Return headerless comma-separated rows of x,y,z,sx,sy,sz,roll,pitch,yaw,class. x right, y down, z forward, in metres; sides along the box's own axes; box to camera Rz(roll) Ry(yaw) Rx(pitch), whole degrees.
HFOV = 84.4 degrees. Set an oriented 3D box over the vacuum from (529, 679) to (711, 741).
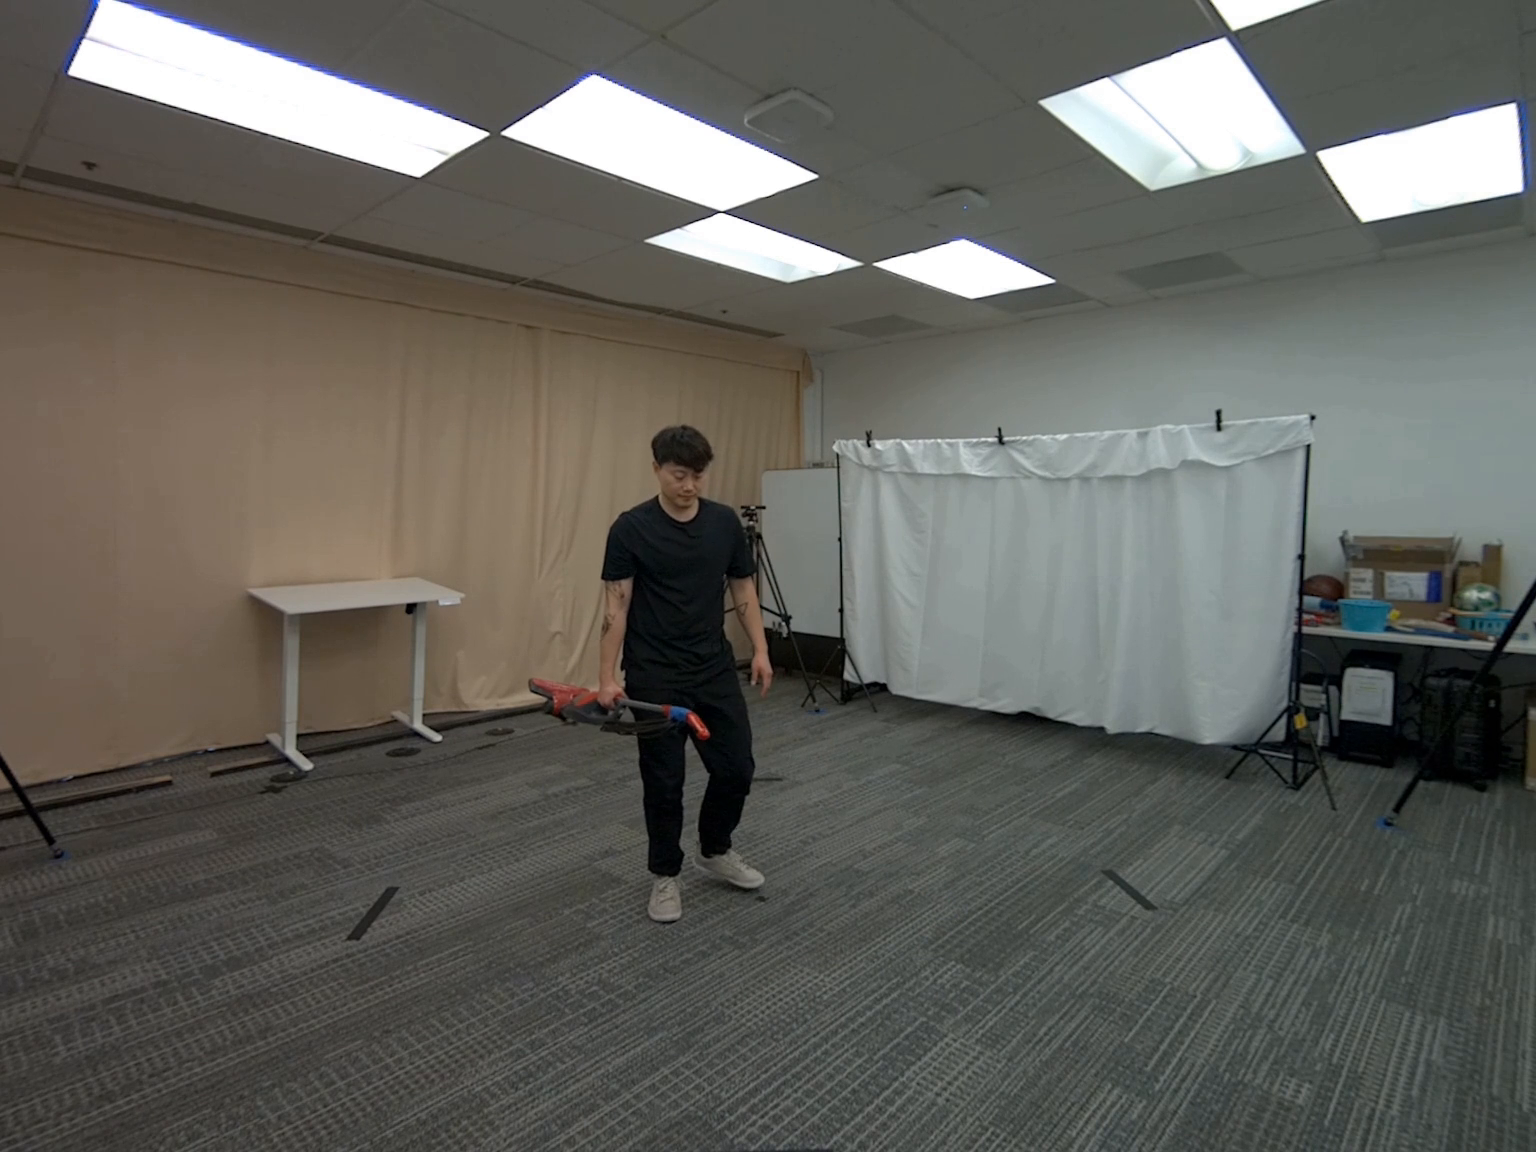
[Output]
-0.485,0.463,2.769,0.244,0.144,1.079,19,-11,-32,vacuum
